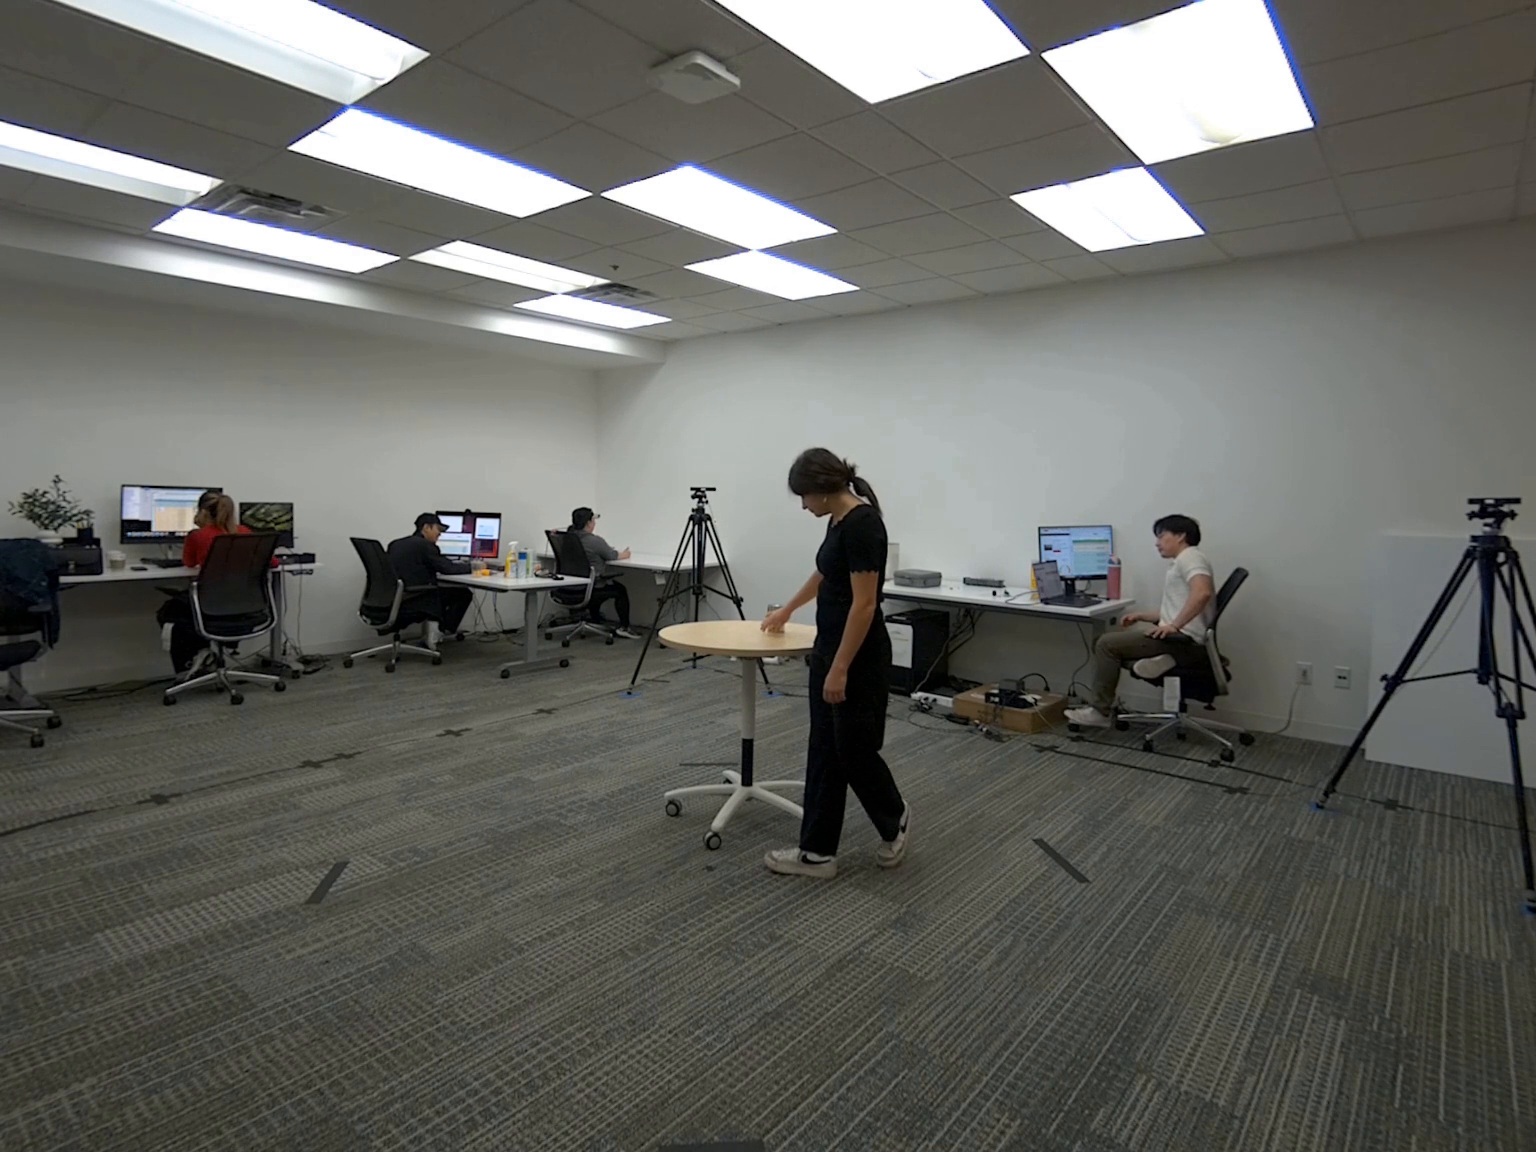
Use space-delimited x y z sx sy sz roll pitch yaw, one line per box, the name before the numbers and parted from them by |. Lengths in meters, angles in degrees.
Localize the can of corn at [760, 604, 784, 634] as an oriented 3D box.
can of corn | 0.029 0.180 3.632 0.074 0.111 0.074 4 2 -2
